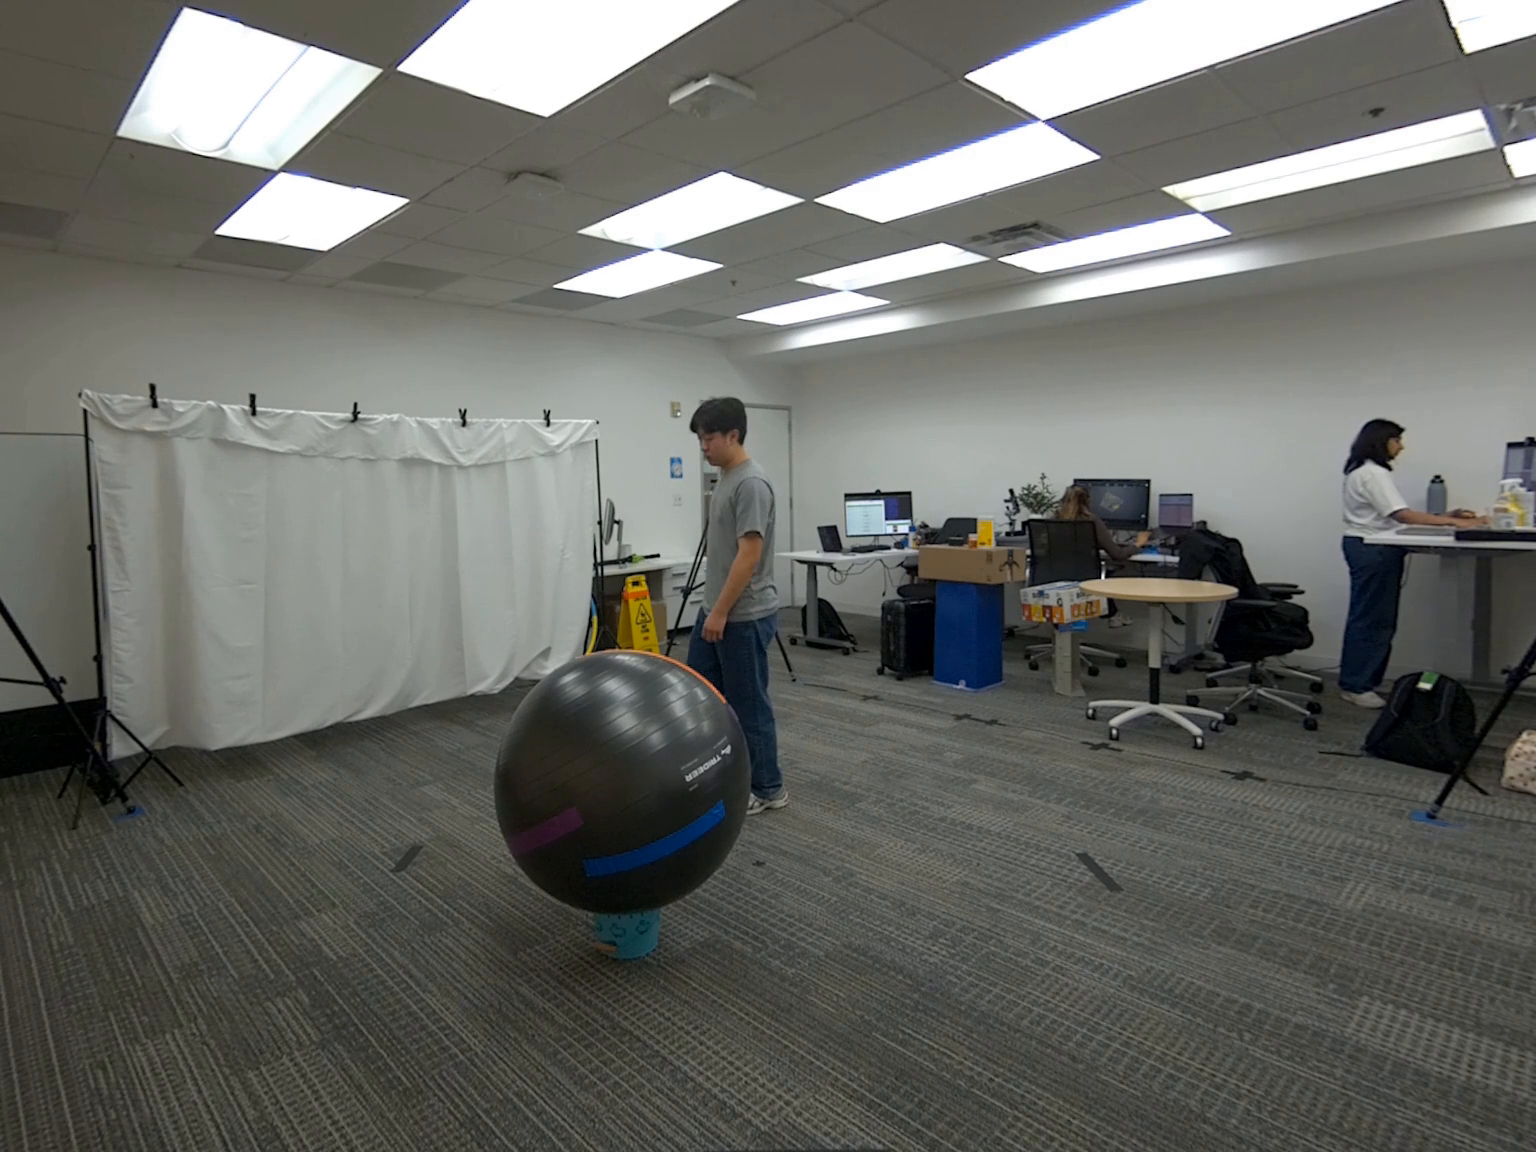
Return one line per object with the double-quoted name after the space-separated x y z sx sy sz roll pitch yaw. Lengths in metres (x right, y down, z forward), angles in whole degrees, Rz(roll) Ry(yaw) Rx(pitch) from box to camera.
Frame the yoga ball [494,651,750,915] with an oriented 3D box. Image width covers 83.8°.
-0.440 0.611 2.547 0.757 0.755 0.762 -1 5 -2 "yoga ball"
